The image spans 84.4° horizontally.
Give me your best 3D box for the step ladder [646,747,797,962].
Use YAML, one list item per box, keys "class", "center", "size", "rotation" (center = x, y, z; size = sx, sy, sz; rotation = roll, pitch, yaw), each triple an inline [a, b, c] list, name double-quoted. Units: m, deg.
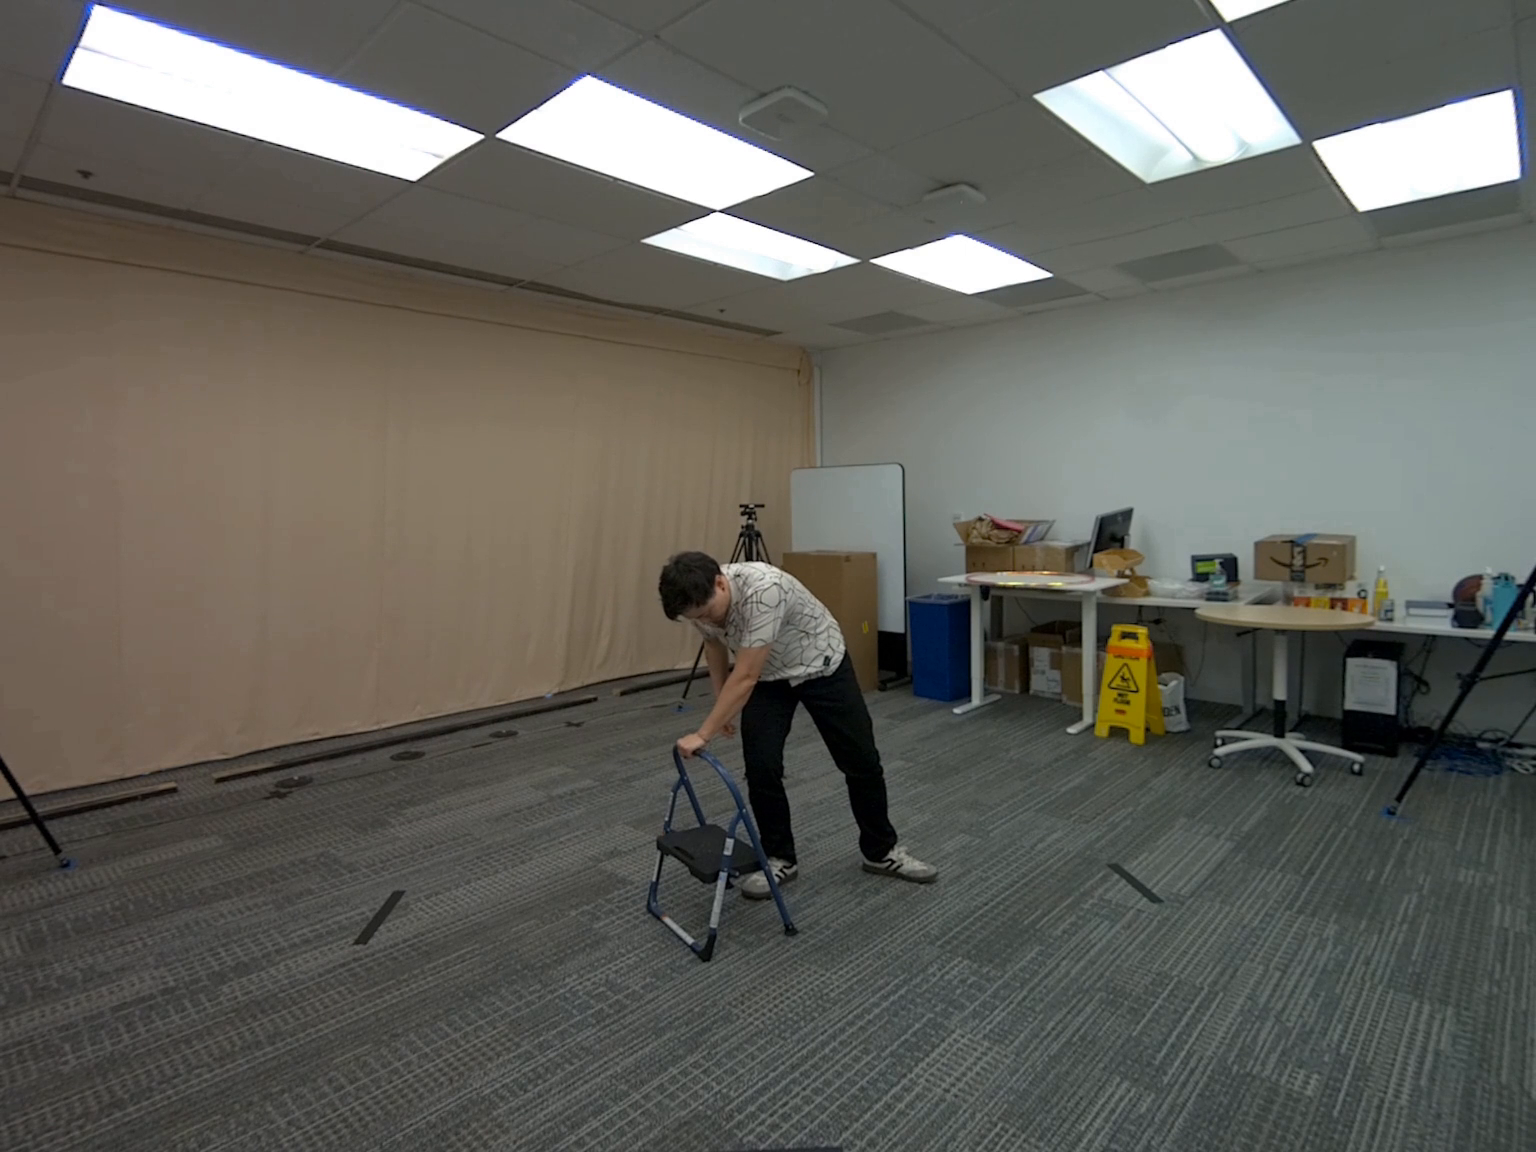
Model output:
- class: "step ladder"
  center: [-0.170, 0.852, 2.806]
  size: [0.339, 0.604, 0.444]
  rotation: [-4, 5, -33]
